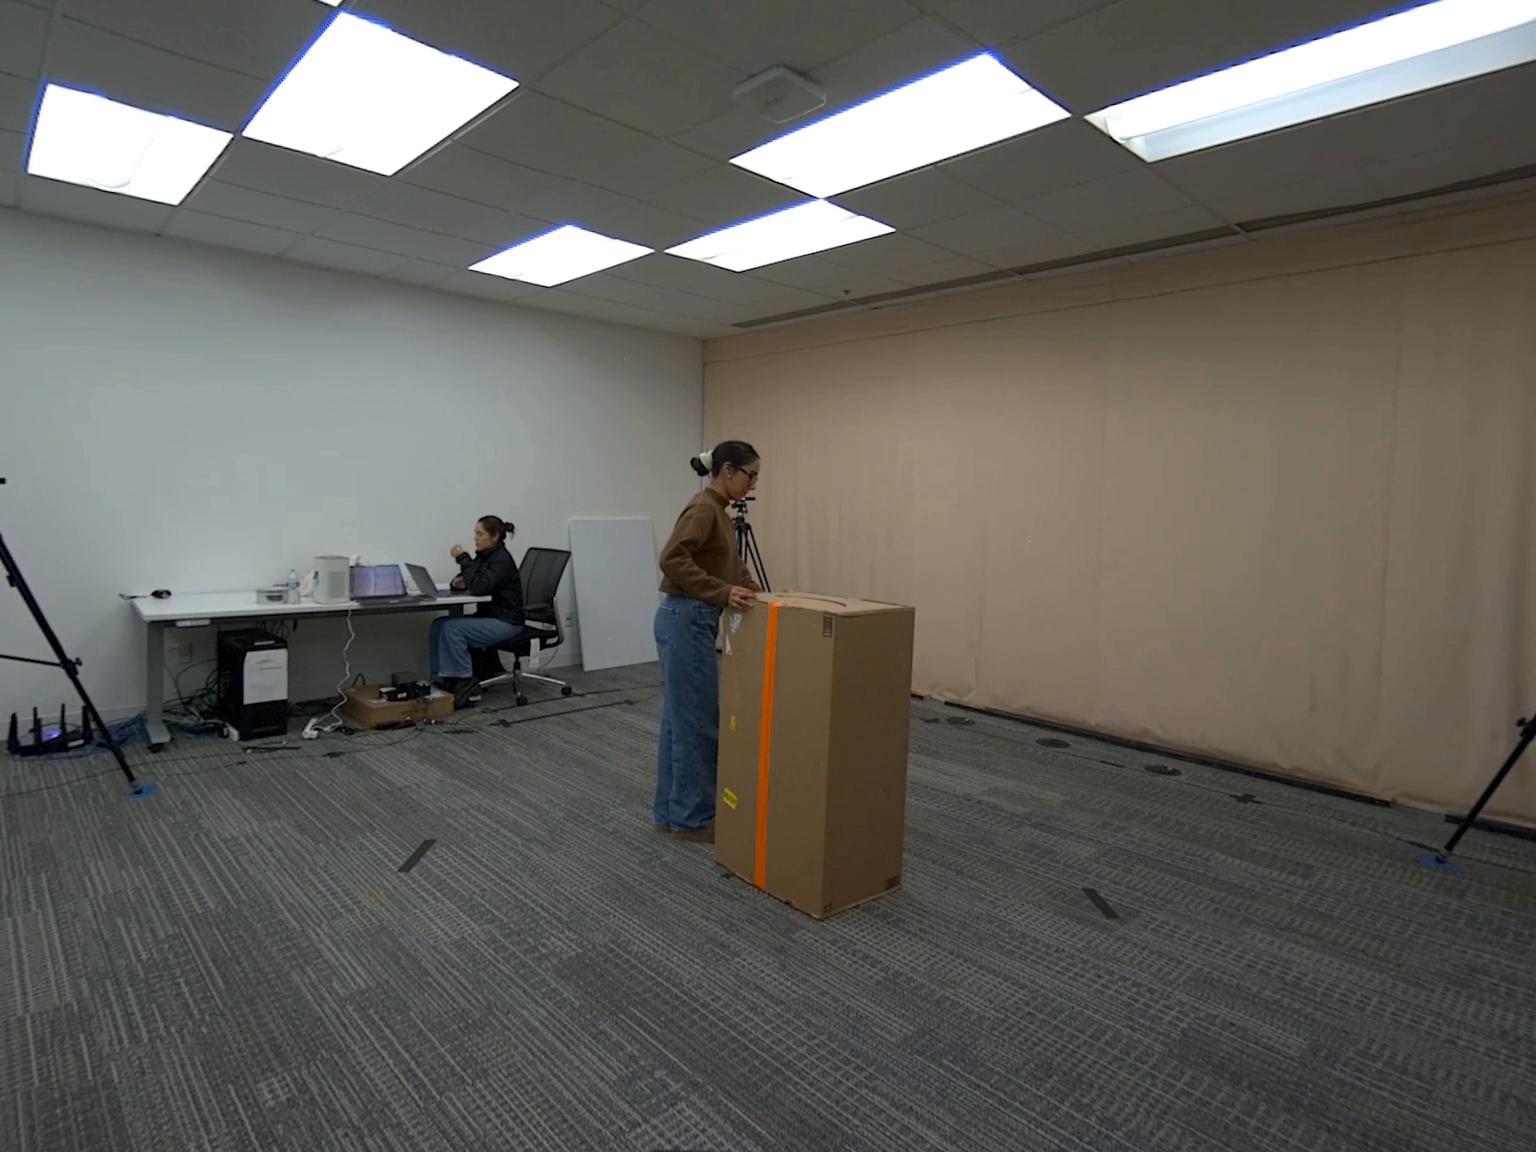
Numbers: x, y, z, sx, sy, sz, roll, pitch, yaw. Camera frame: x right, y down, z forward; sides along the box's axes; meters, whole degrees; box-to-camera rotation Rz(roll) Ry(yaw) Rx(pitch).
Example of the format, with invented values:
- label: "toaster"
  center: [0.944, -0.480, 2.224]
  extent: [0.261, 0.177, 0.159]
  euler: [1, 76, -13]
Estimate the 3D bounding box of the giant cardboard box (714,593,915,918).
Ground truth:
- label: "giant cardboard box"
  center: [0.155, 0.603, 3.101]
  extent: [0.416, 1.024, 0.592]
  euler: [0, 3, -40]
